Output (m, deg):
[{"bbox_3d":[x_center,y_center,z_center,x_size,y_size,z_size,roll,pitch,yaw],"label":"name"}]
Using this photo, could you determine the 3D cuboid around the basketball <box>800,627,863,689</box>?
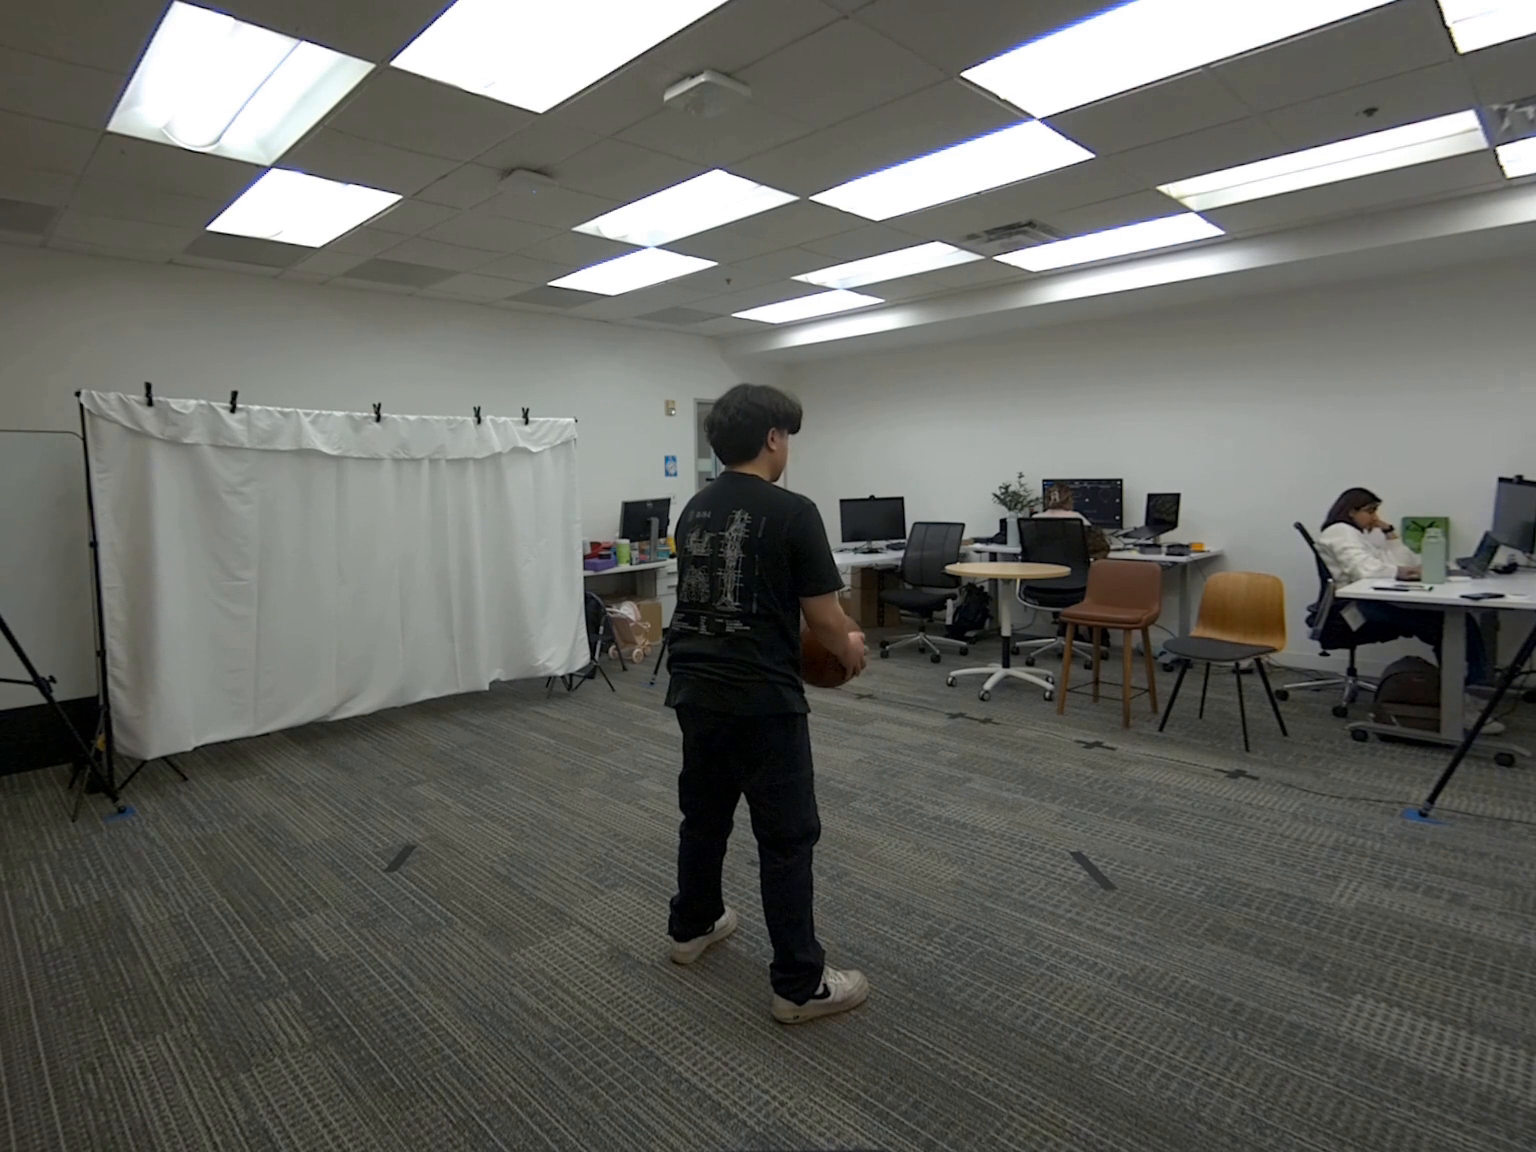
[{"bbox_3d":[0.185,0.217,2.578,0.236,0.235,0.237,-1,5,-2],"label":"basketball"}]
